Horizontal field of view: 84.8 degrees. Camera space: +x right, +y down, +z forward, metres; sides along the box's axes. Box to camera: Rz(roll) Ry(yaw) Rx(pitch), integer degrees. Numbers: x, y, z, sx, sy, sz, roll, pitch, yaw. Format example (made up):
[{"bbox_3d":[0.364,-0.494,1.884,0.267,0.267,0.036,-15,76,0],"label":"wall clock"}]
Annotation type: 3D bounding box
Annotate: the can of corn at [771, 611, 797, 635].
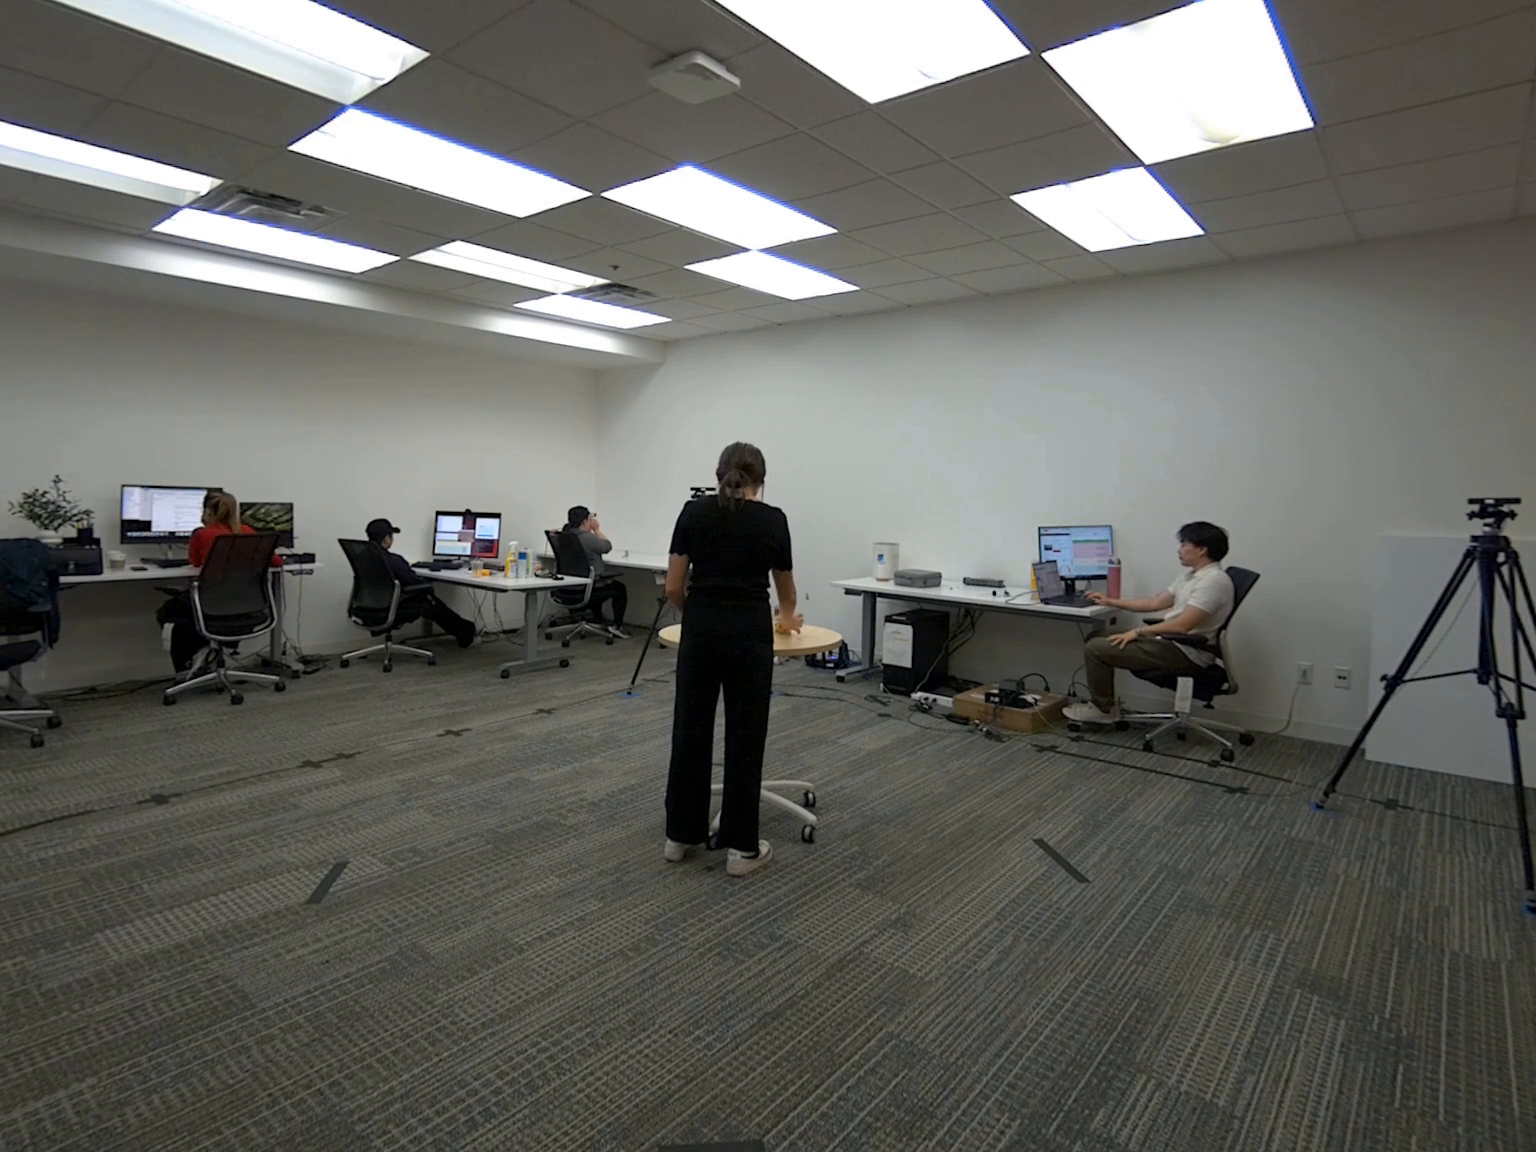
[{"bbox_3d":[0.058,0.185,3.583,0.074,0.111,0.074,3,4,-2],"label":"can of corn"}]
